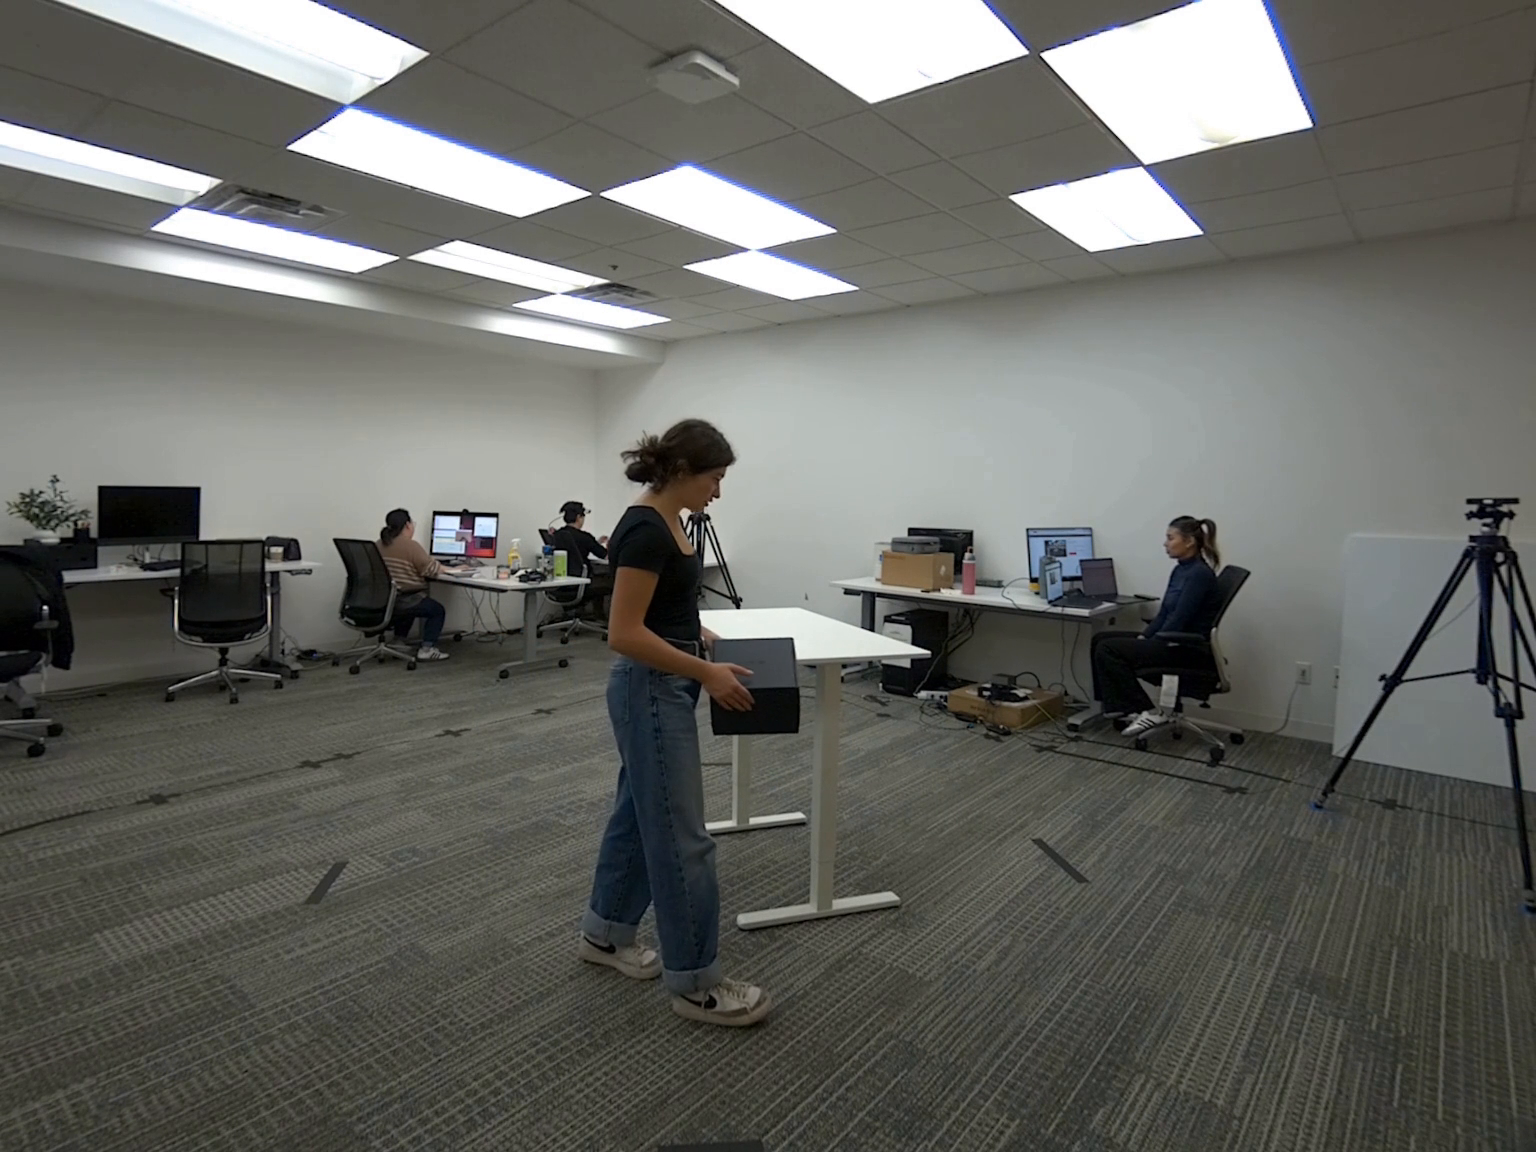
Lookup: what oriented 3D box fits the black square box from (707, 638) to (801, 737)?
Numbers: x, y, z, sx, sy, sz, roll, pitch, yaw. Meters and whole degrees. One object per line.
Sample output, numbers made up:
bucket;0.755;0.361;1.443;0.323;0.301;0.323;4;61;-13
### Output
black square box;-0.034;0.287;2.269;0.227;0.152;0.223;-4;30;-4
